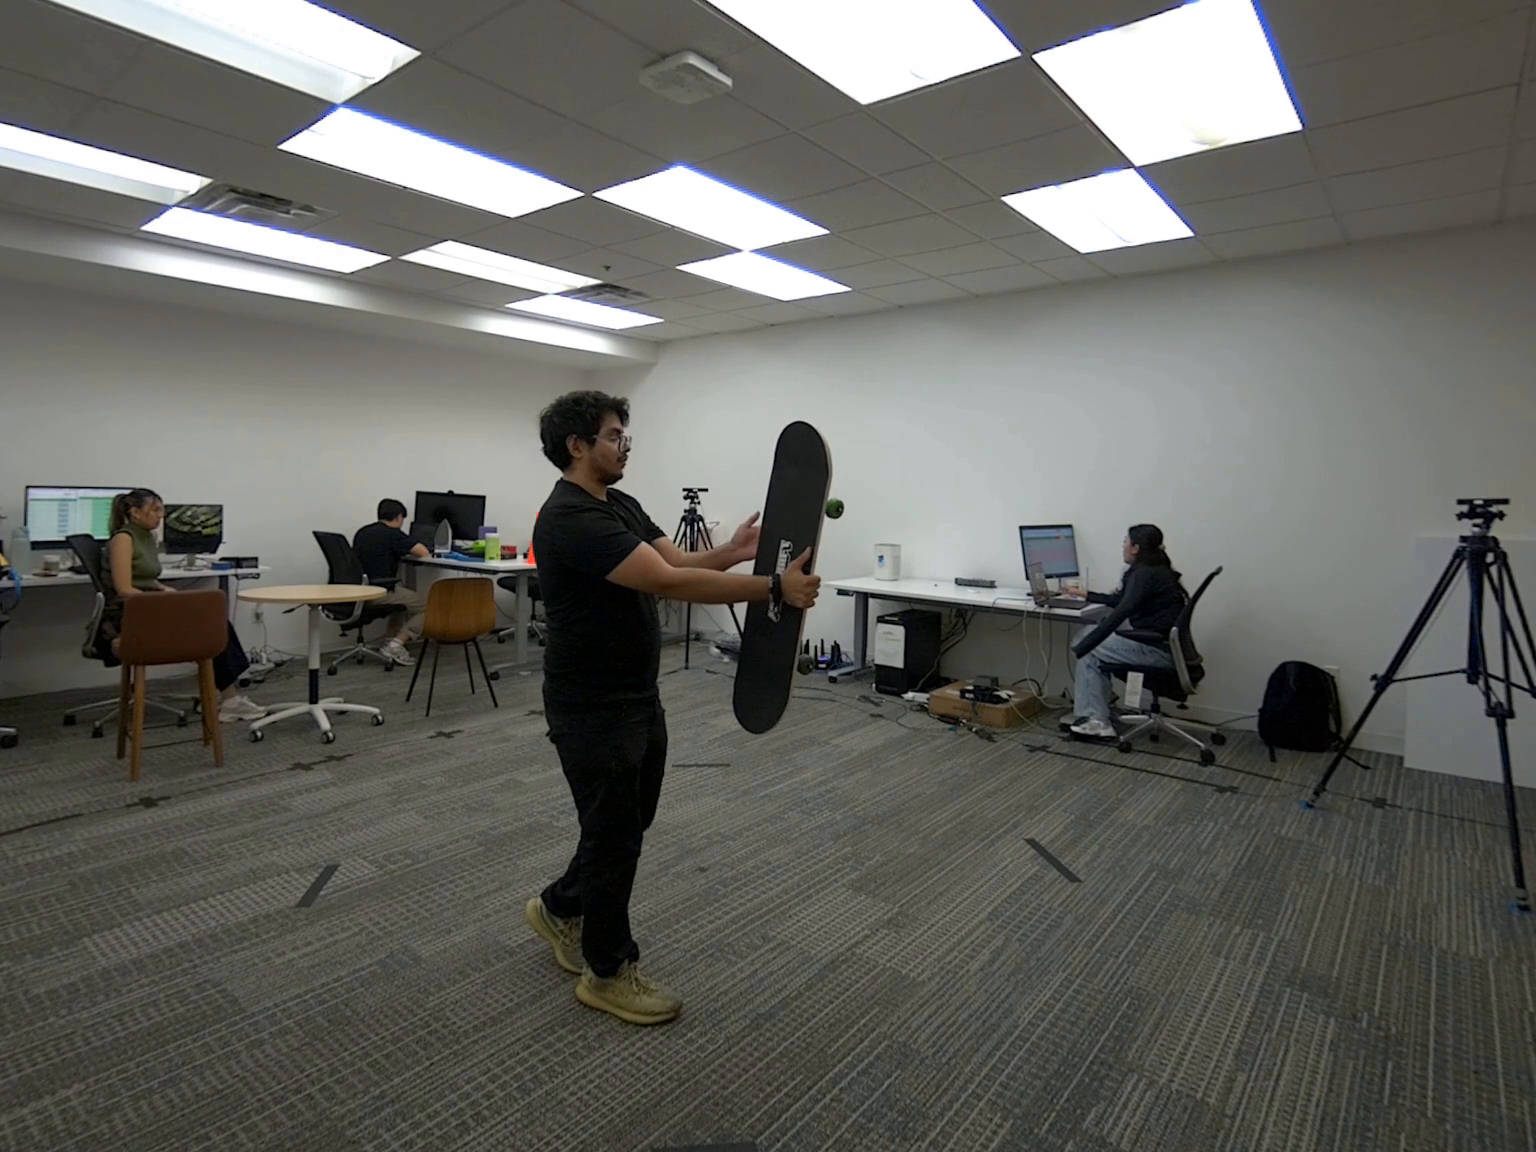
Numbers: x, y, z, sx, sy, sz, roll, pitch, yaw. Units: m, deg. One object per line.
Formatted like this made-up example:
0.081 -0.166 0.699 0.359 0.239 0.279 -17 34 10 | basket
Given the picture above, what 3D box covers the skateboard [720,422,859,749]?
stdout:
0.046 0.018 2.125 0.107 0.780 0.201 2 12 -43 | skateboard
